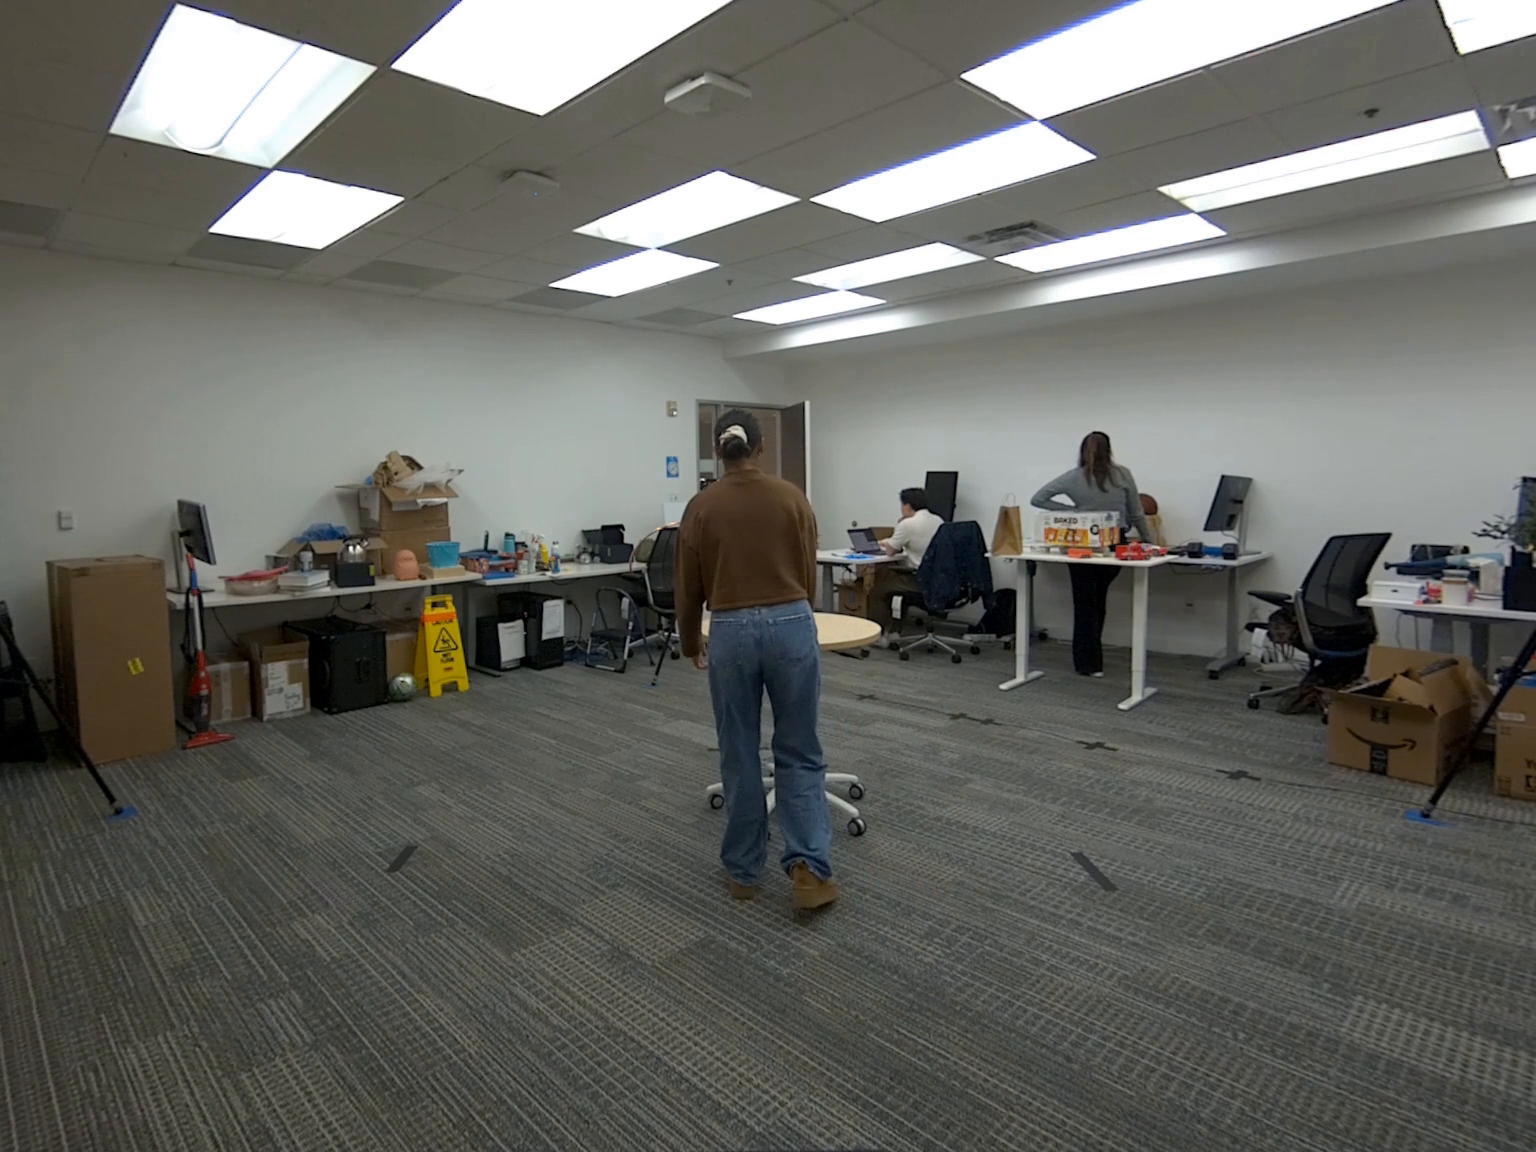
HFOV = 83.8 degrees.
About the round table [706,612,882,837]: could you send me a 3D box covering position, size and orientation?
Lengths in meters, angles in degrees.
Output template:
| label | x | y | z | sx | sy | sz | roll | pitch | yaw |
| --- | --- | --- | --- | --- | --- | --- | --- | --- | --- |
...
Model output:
| label | x | y | z | sx | sy | sz | roll | pitch | yaw |
| --- | --- | --- | --- | --- | --- | --- | --- | --- | --- |
| round table | 0.106 | 0.596 | 3.574 | 0.784 | 0.783 | 0.789 | -1 | 5 | -2 |
